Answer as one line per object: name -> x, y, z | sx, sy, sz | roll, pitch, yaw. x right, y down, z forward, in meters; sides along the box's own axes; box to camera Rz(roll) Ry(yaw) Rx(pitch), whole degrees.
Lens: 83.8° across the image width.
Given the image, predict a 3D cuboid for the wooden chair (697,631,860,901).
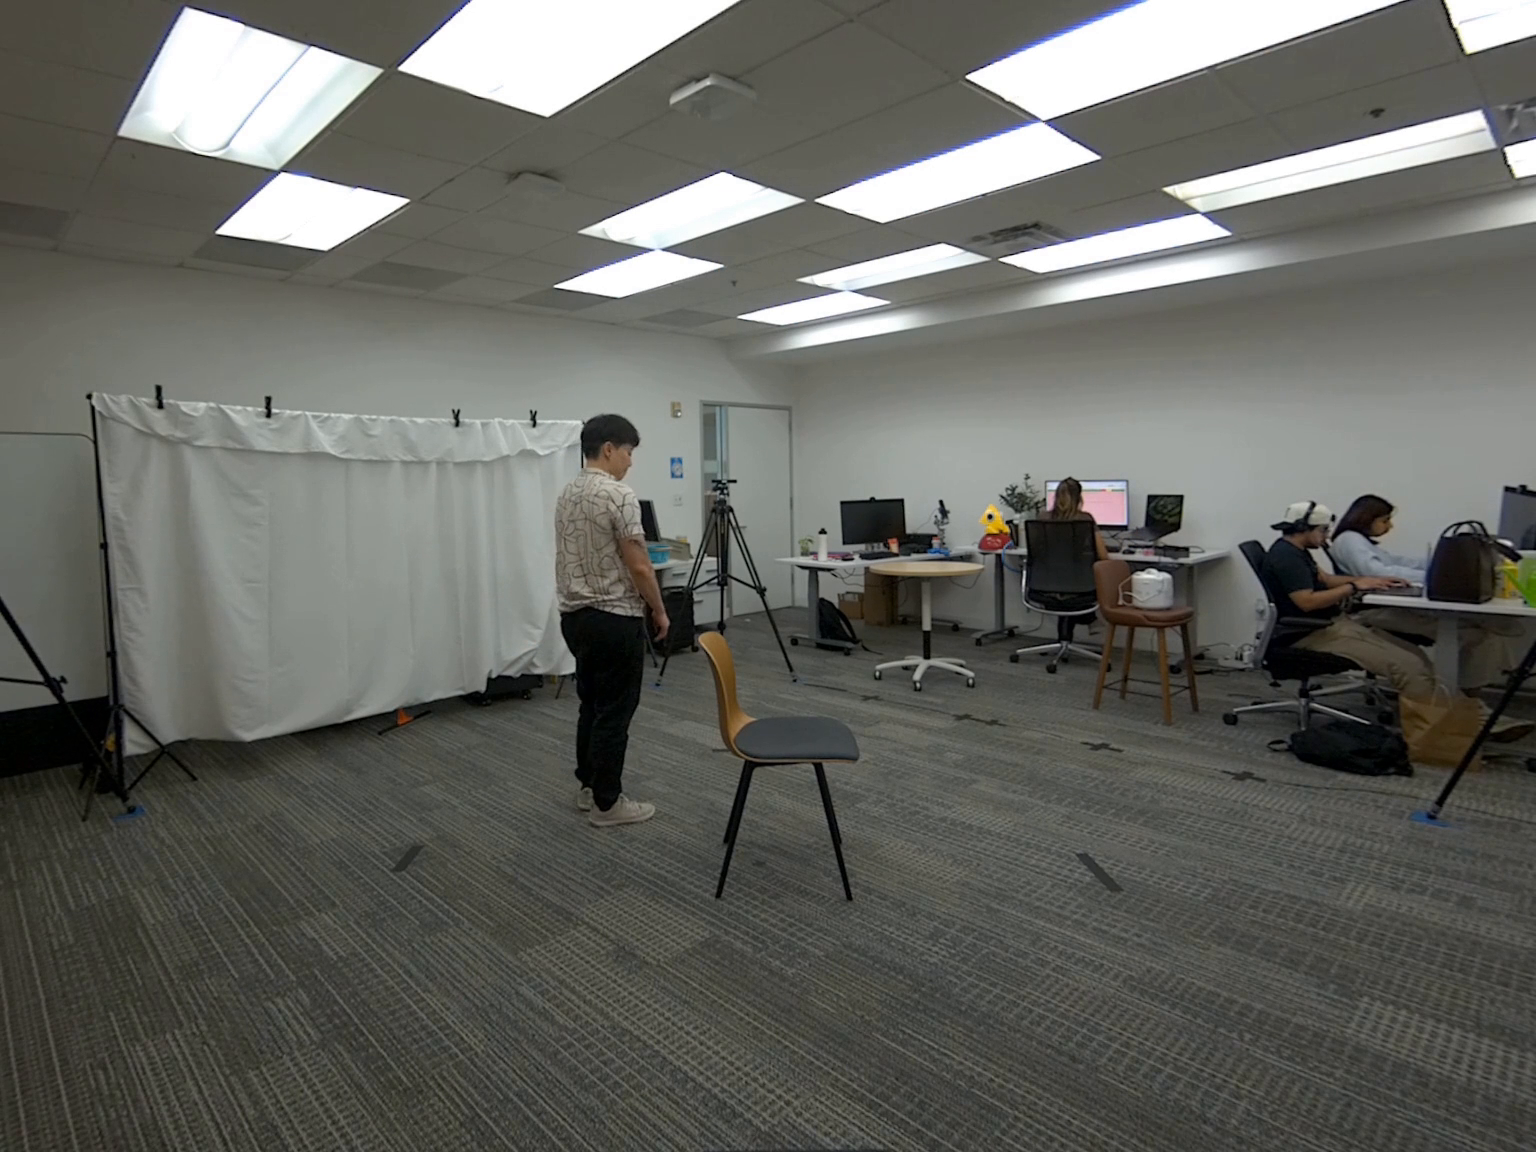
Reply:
wooden chair -> 0.056, 0.627, 3.032 | 0.524, 0.875, 0.479 | -5, 3, 2
